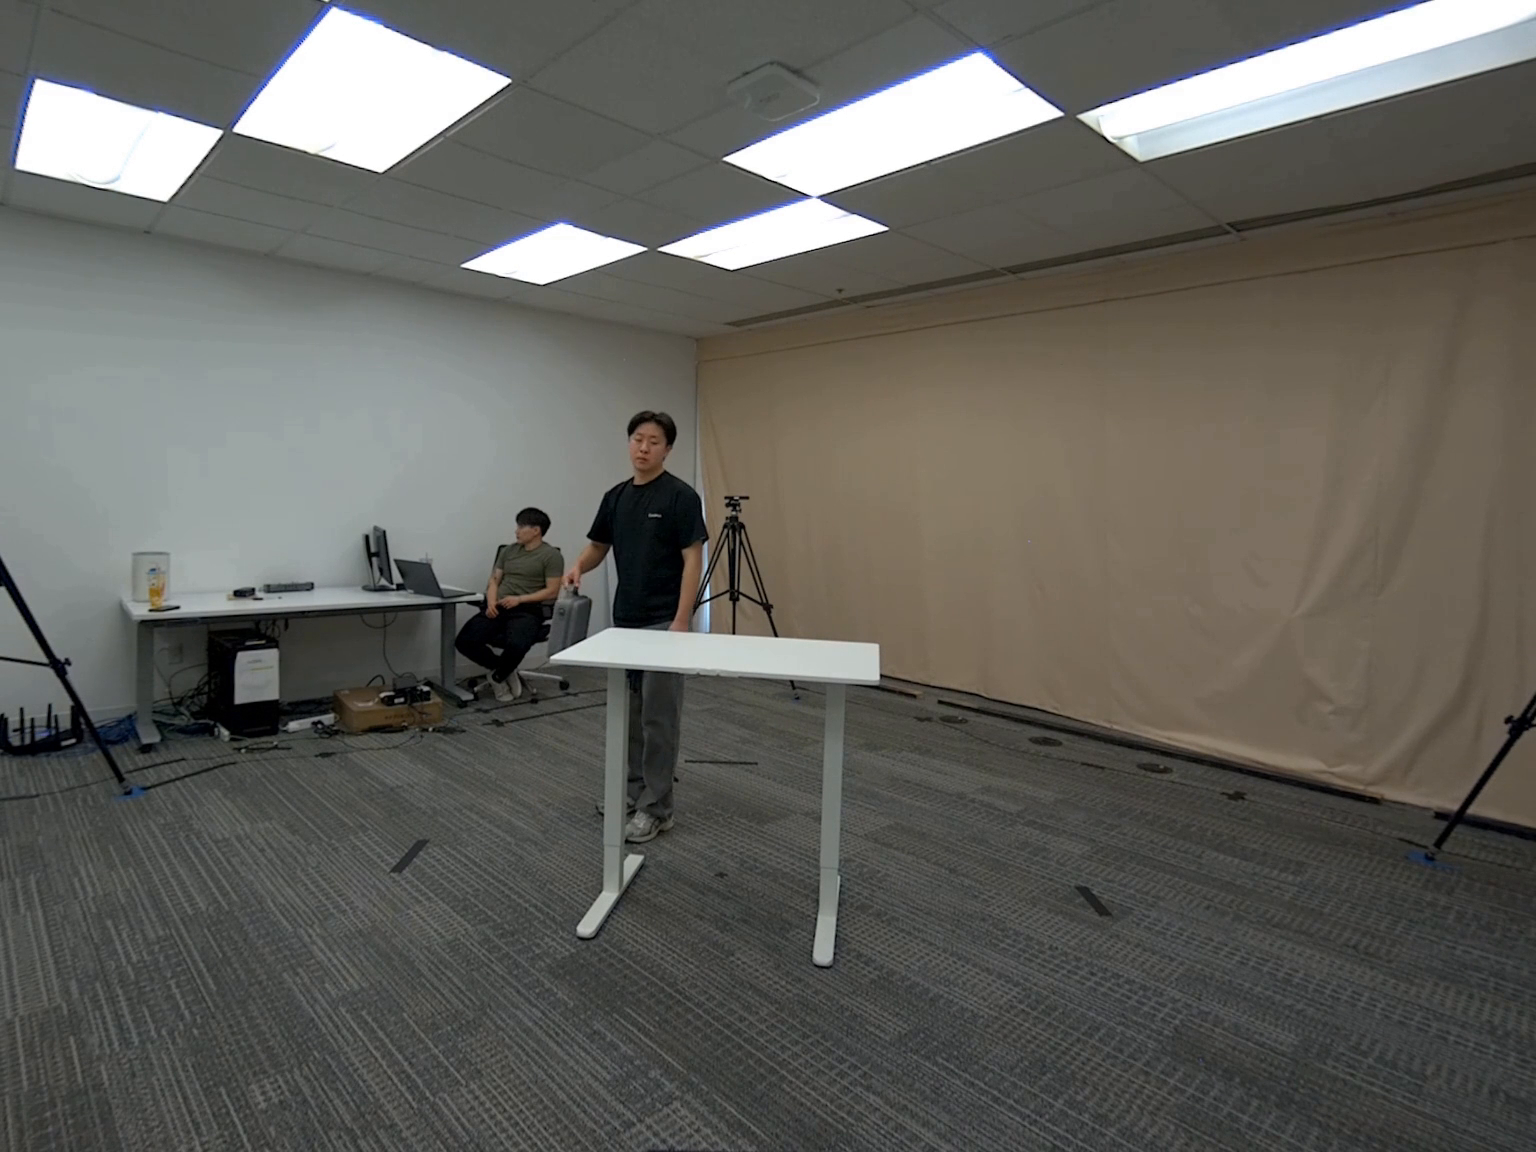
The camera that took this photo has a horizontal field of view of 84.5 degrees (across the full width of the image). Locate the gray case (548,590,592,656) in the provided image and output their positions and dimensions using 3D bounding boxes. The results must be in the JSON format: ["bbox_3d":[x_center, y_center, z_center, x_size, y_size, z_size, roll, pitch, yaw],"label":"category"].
[{"bbox_3d":[-0.826,0.201,3.504,0.103,0.287,0.262,8,2,3],"label":"gray case"}]
